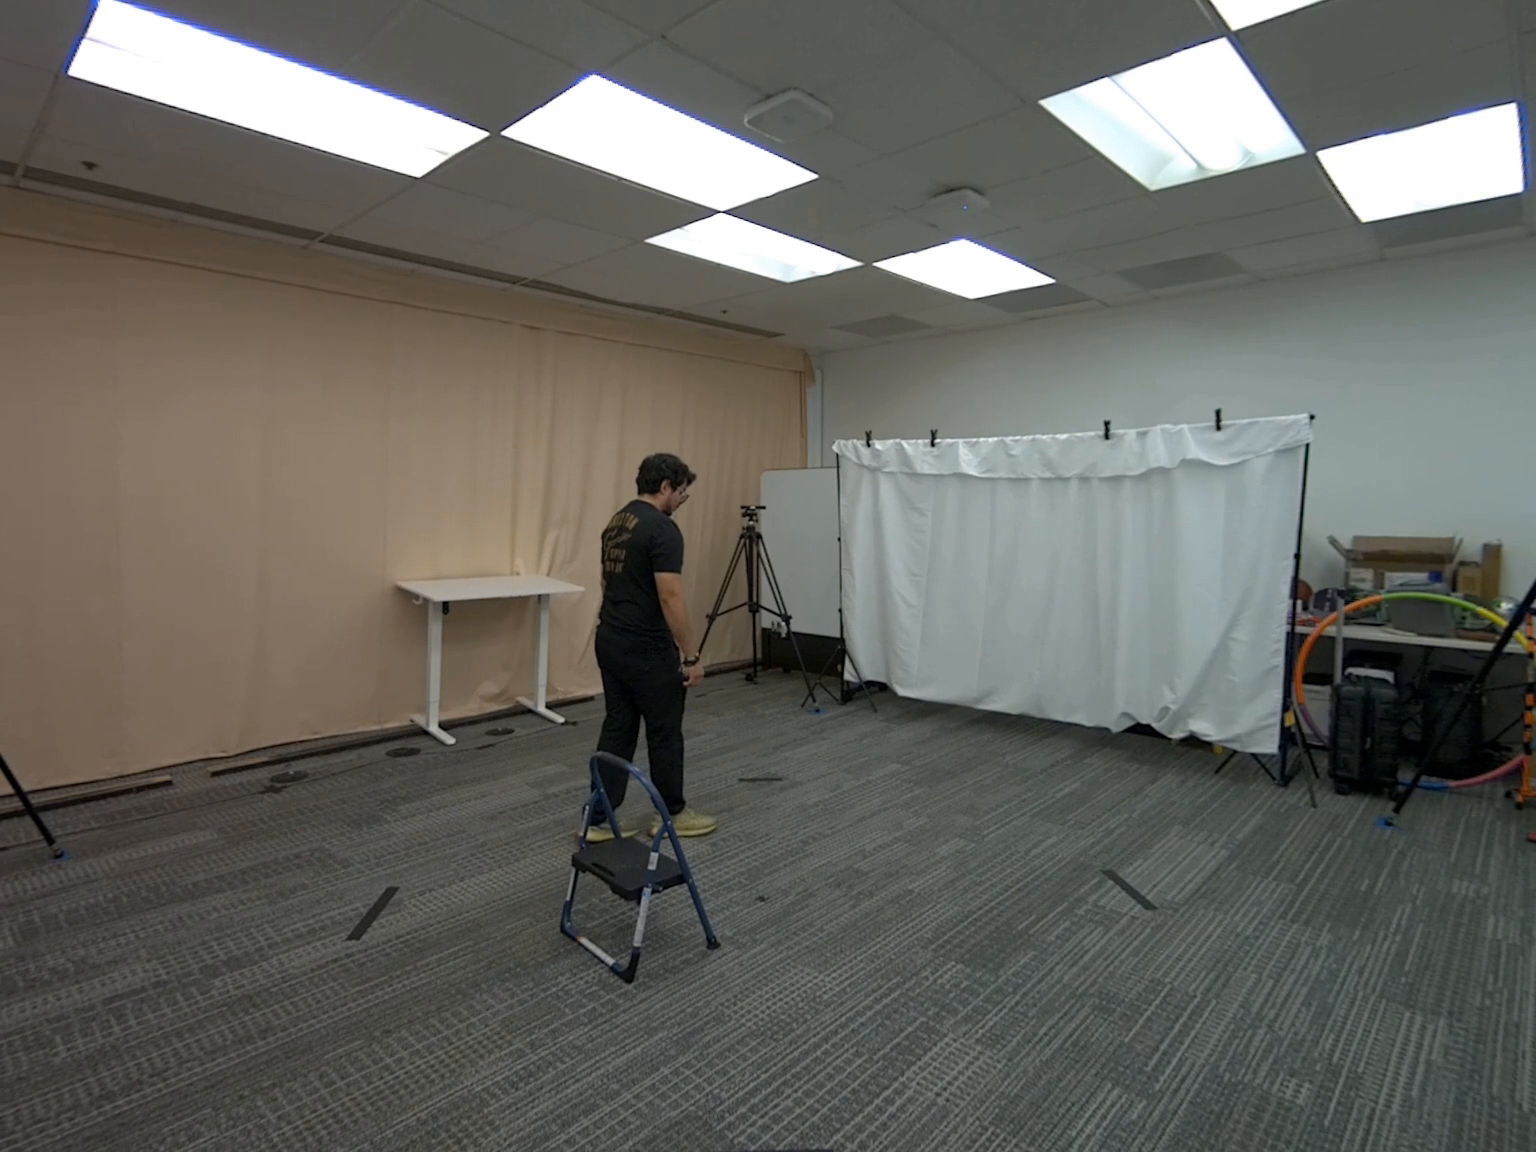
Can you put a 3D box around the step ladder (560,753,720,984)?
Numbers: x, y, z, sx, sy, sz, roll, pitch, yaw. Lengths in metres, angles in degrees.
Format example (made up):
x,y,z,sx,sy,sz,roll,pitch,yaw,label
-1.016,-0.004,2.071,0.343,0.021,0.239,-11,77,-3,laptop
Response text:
x,y,z,sx,sy,sz,roll,pitch,yaw,label
-0.420,0.869,2.700,0.338,0.605,0.445,-3,4,-42,step ladder
